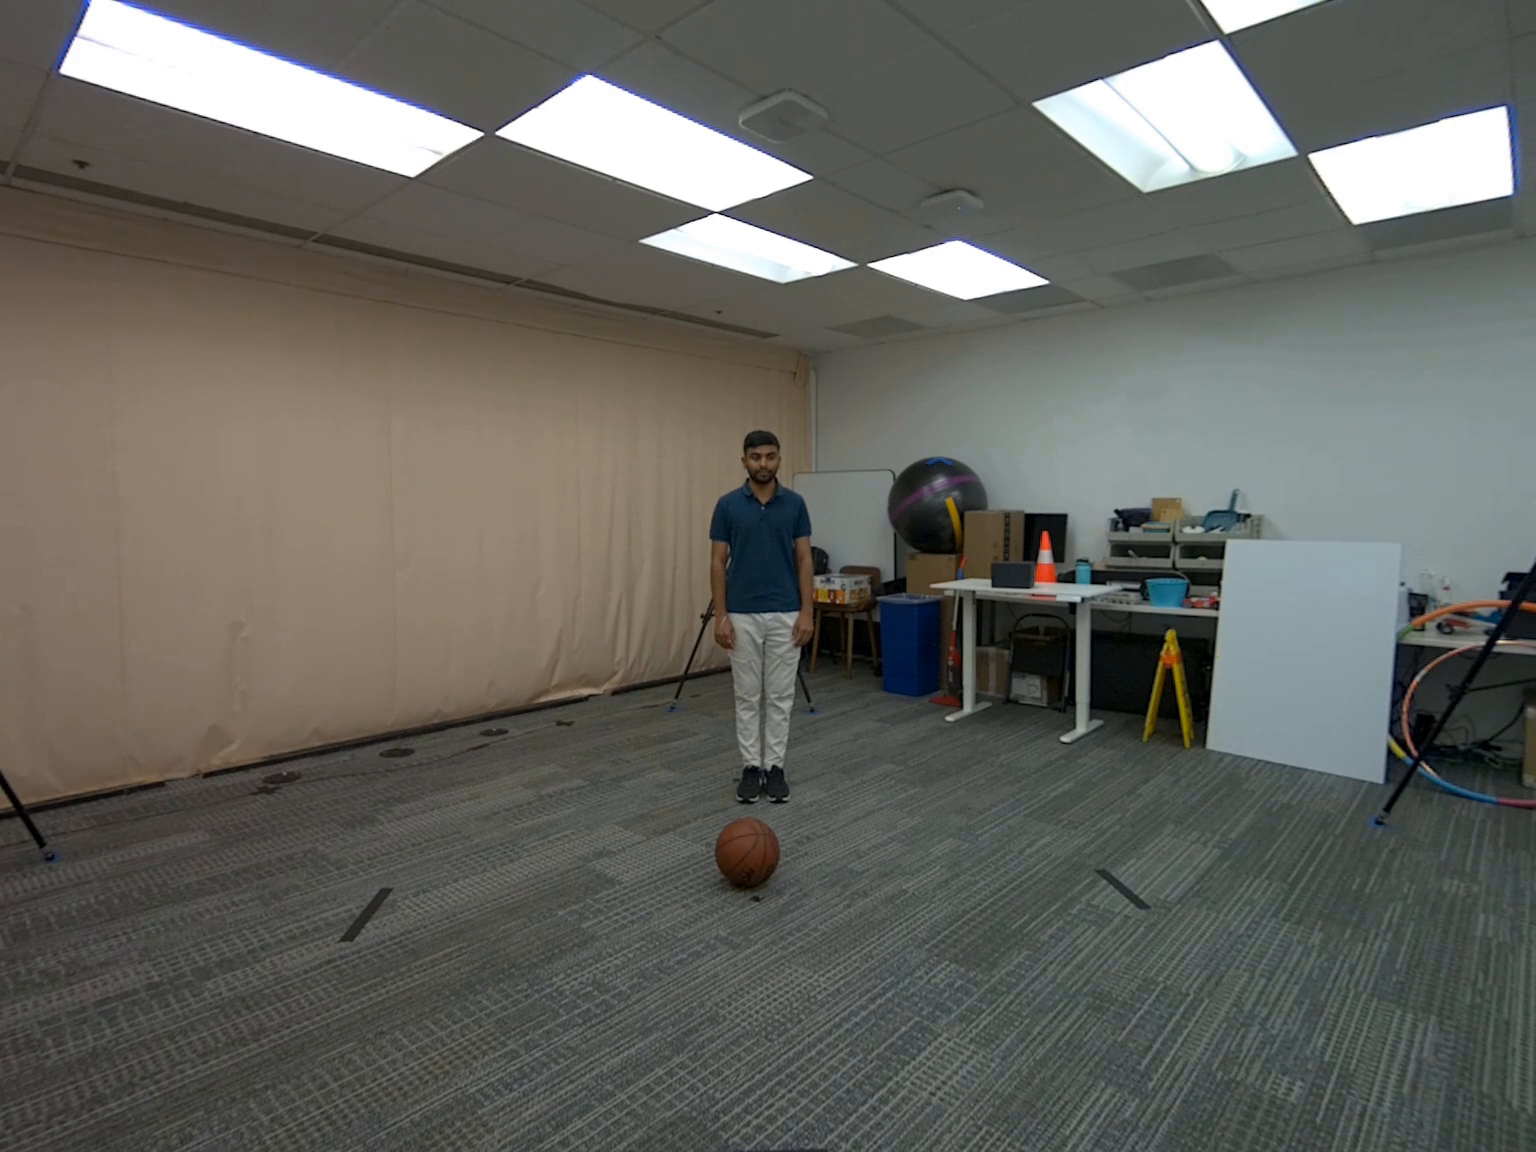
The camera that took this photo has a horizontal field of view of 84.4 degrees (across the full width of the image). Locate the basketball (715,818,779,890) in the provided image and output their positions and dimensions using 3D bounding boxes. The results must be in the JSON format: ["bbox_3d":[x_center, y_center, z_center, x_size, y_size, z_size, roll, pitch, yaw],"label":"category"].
[{"bbox_3d":[-0.082,1.009,3.100,0.236,0.235,0.237,0,4,-2],"label":"basketball"}]
